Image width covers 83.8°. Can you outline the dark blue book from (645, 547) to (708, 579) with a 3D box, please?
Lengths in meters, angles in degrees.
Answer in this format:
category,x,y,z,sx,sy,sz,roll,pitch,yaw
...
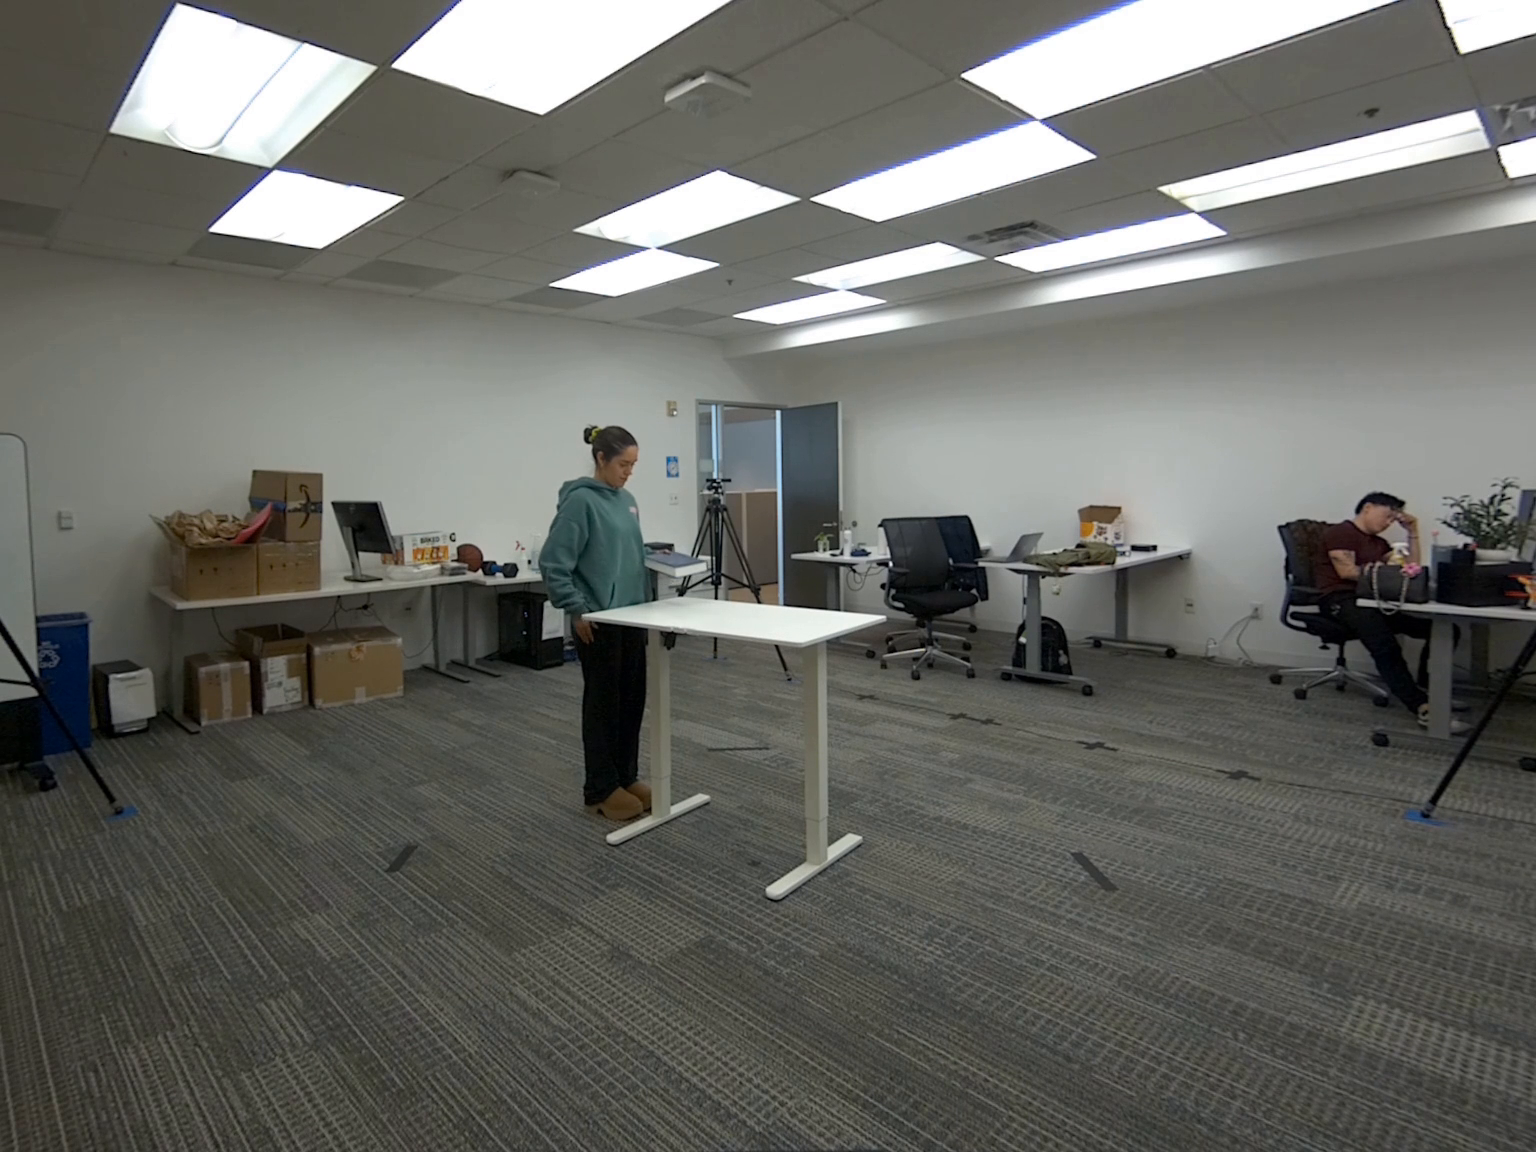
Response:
category,x,y,z,sx,sy,sz,roll,pitch,yaw
dark blue book,-0.376,-0.048,3.533,0.159,0.044,0.254,-12,19,-40
